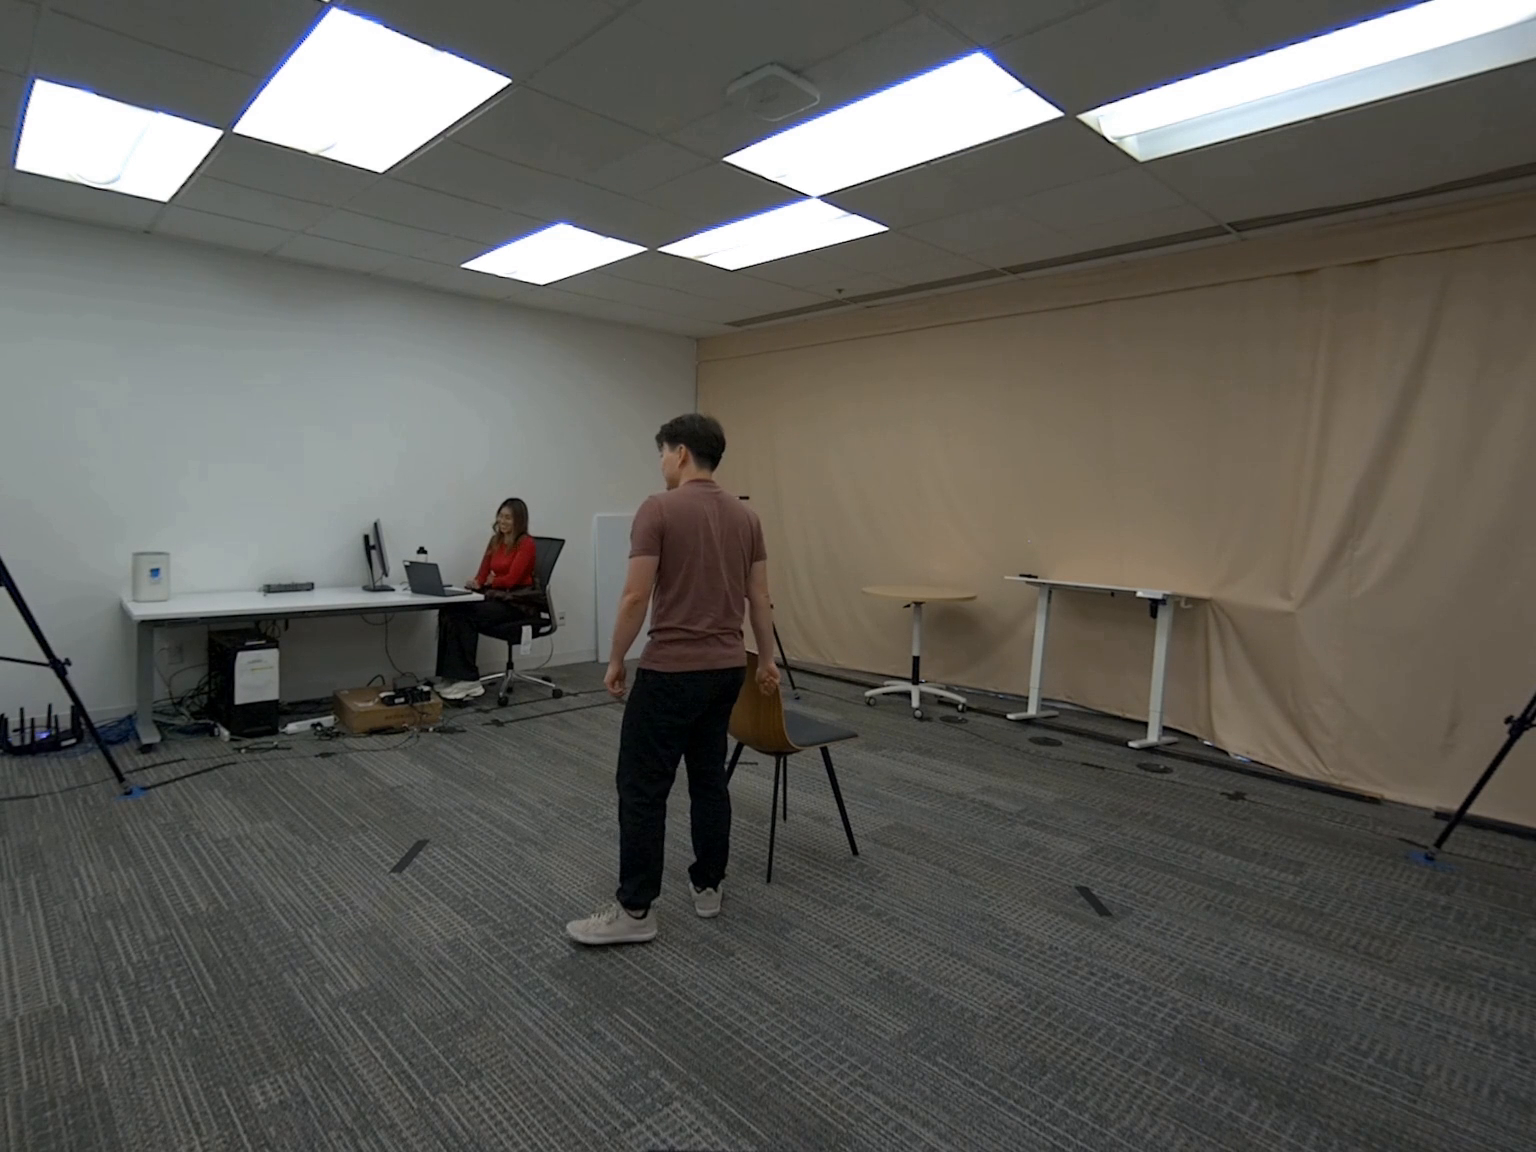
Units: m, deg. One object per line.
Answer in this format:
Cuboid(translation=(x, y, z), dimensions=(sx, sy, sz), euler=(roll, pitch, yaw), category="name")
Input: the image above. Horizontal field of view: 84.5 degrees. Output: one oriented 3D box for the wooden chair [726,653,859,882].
Cuboid(translation=(0.051, 0.660, 3.329), dimensions=(0.512, 0.873, 0.490), euler=(-7, 7, -37), category="wooden chair")
